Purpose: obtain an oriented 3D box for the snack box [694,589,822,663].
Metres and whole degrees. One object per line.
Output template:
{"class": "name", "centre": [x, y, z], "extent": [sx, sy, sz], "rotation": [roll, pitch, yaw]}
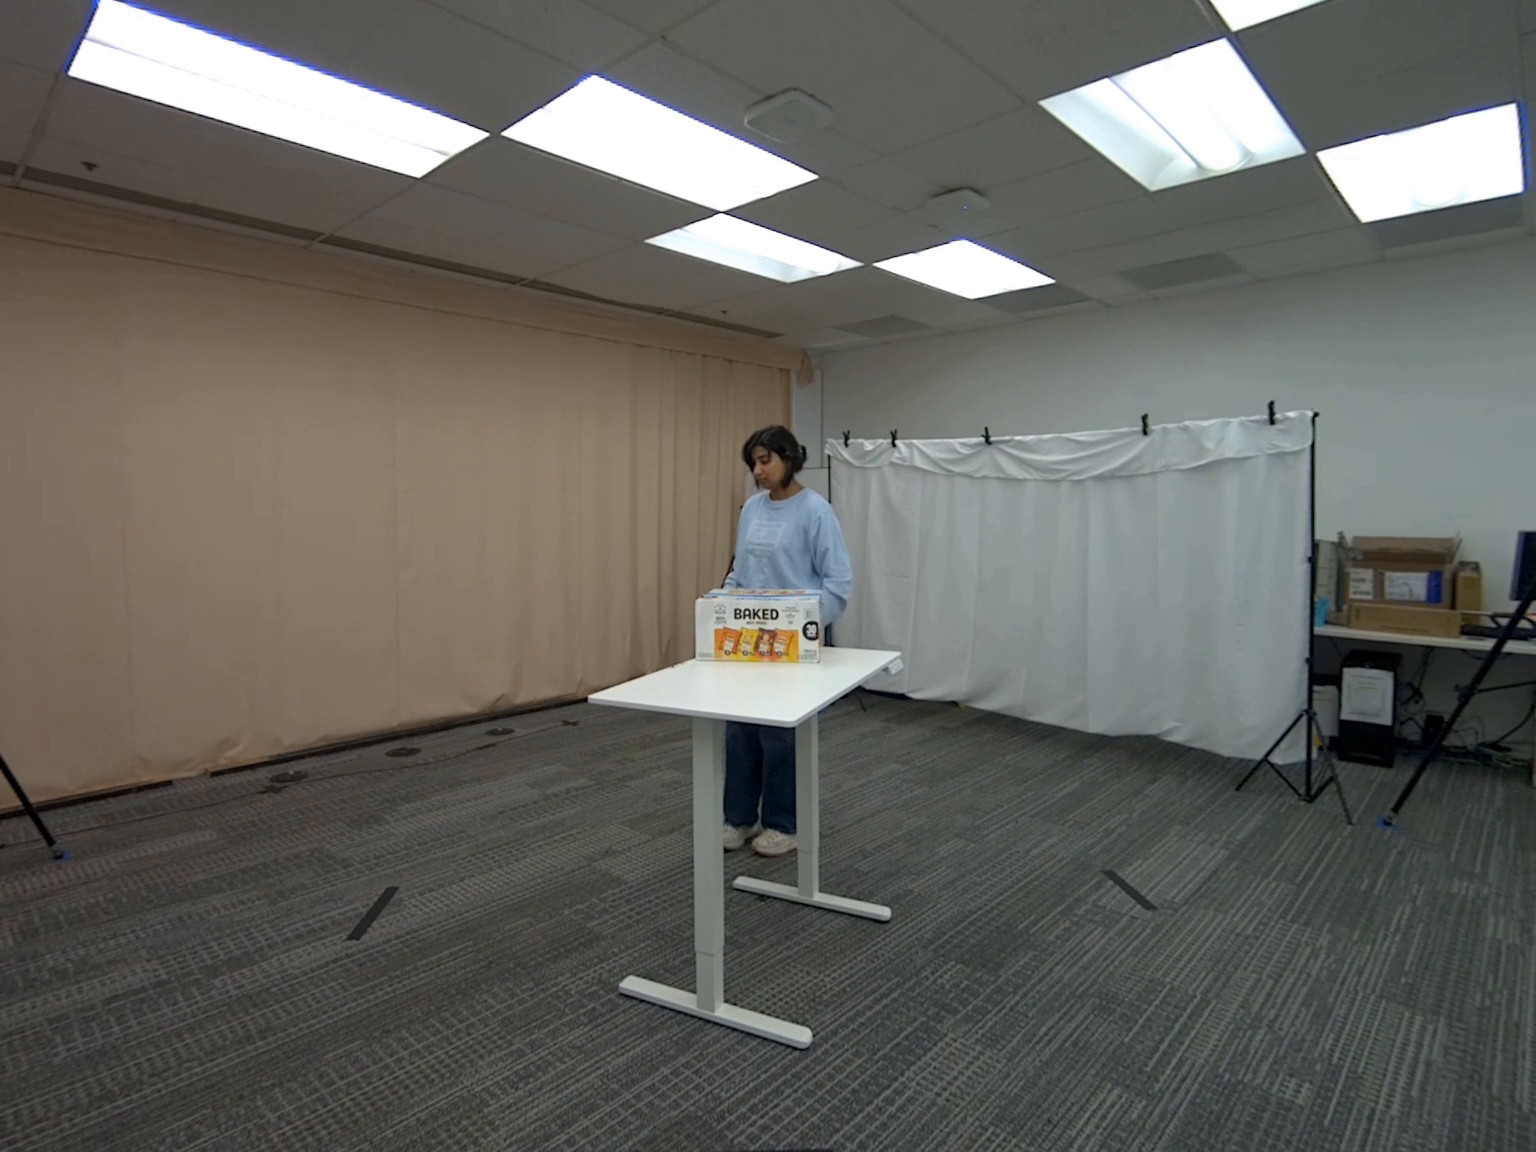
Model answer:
{"class": "snack box", "centre": [-0.019, 0.167, 2.911], "extent": [0.409, 0.205, 0.338], "rotation": [0, 4, 8]}
